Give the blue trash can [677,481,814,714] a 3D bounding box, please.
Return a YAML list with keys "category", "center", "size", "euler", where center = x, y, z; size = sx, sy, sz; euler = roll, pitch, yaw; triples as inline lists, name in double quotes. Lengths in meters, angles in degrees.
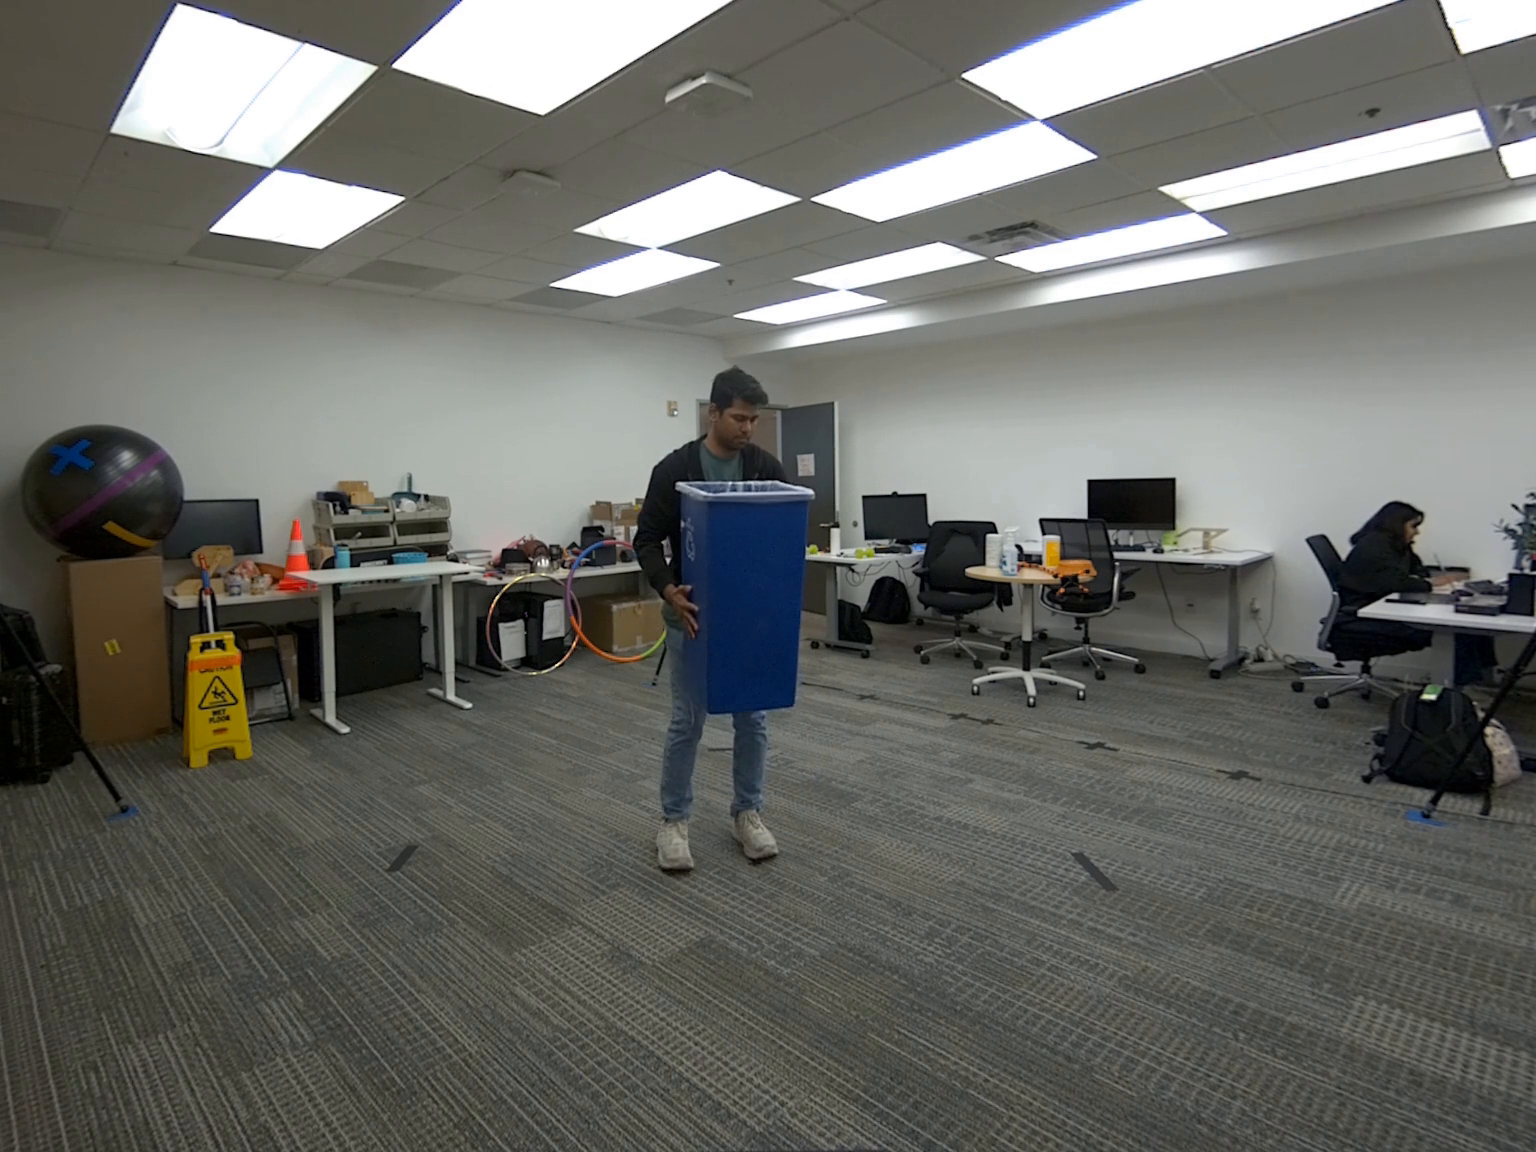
- category: "blue trash can"
  center: [-0.087, 0.070, 2.835]
  size: [0.372, 0.708, 0.383]
  euler: [-2, 10, -19]
